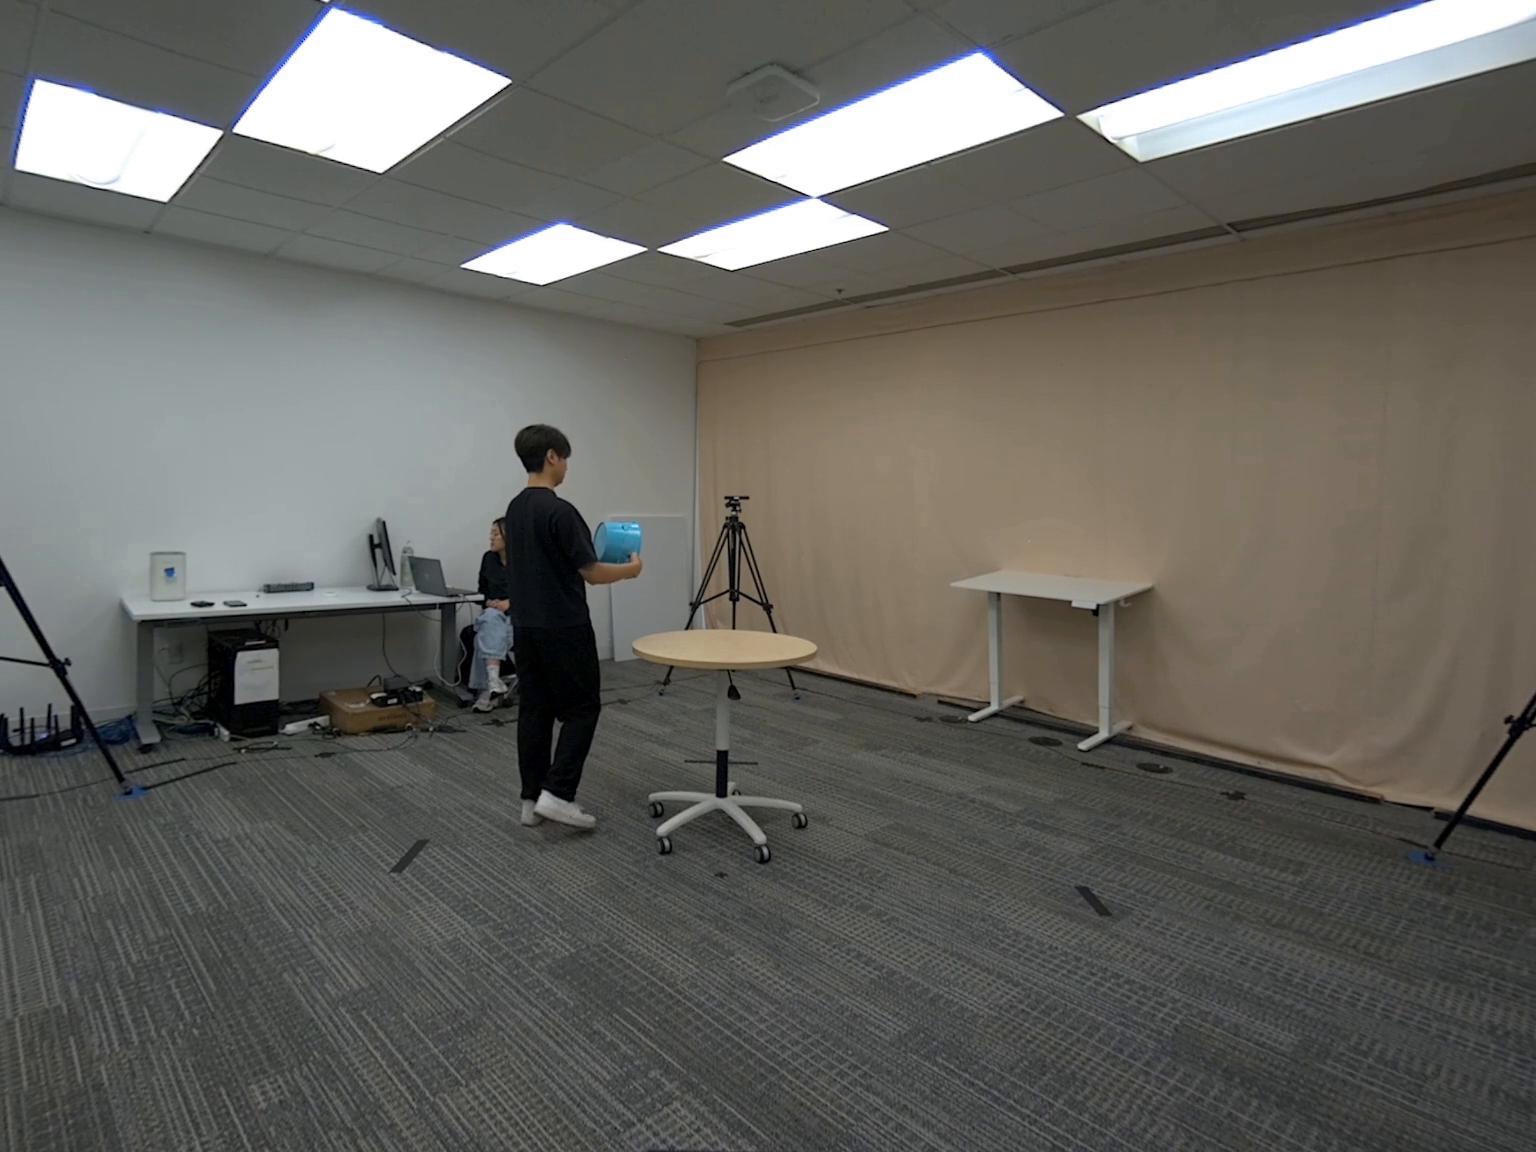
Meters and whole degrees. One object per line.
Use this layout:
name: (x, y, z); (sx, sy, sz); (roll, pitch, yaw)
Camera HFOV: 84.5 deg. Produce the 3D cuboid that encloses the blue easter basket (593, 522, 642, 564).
blue easter basket: (-0.691, -0.136, 3.776); (0.152, 0.243, 0.249); (9, 0, -29)
